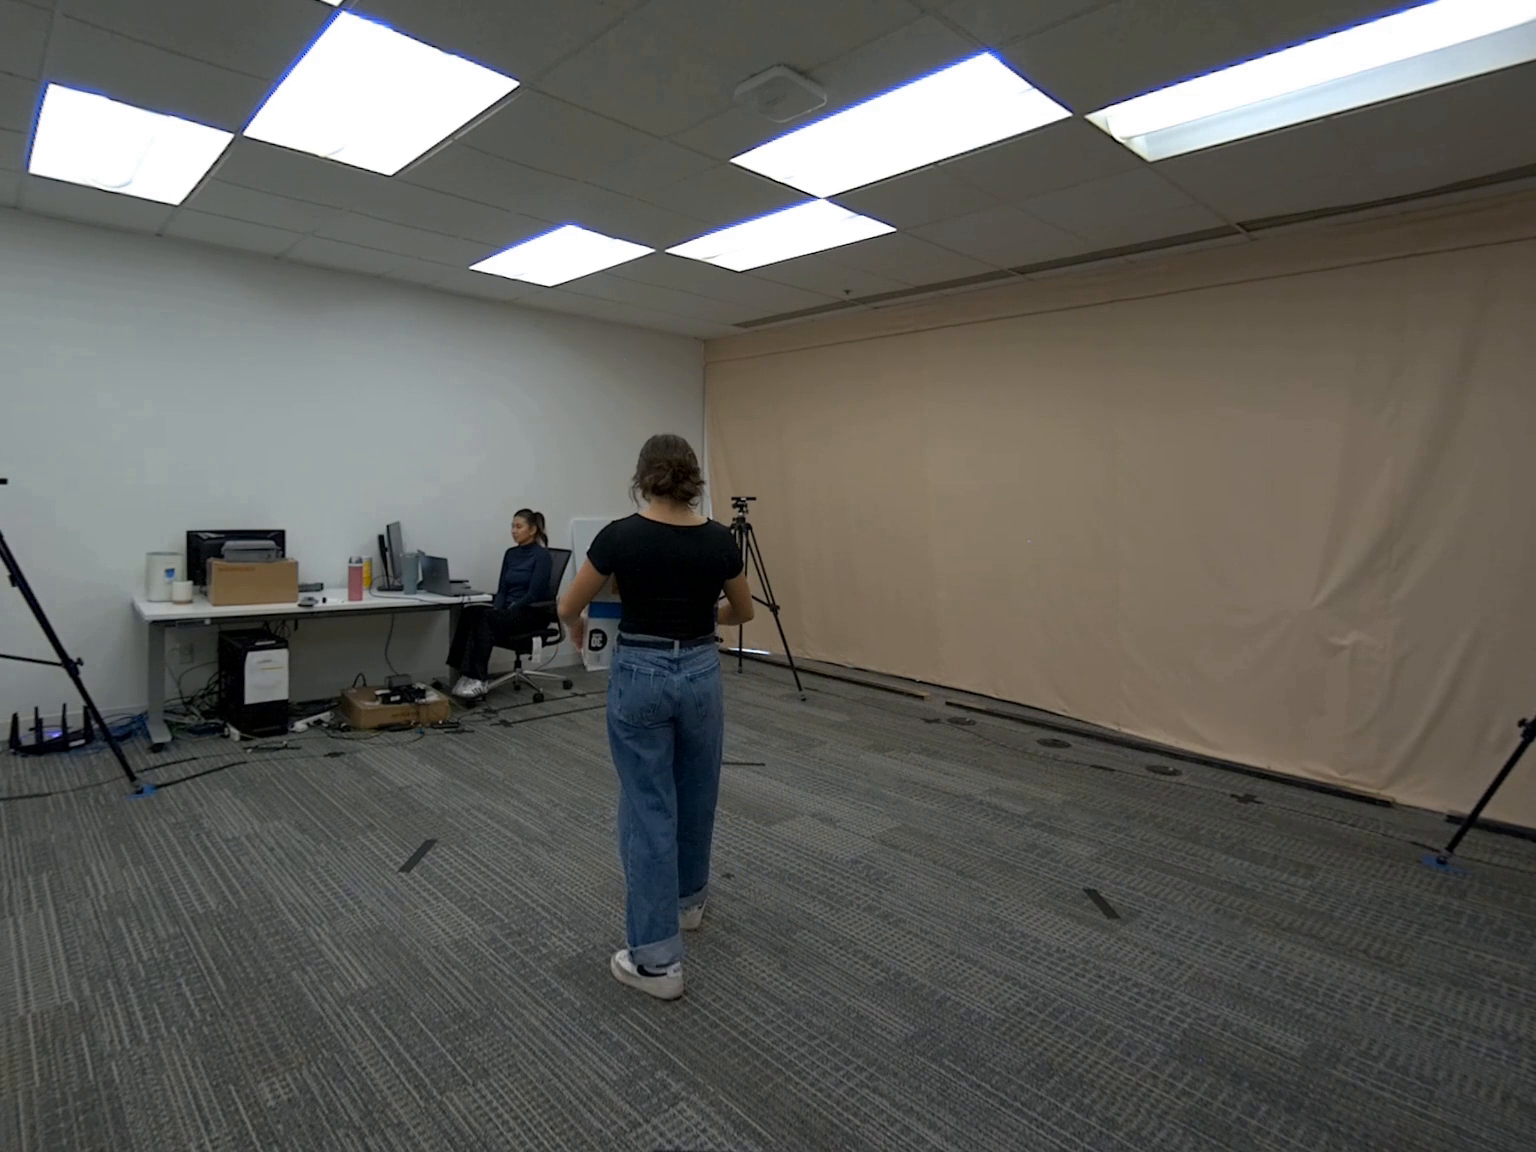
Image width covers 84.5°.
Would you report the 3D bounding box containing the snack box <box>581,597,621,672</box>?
[{"bbox_3d":[-0.369,0.100,2.676,0.400,0.339,0.209,3,8,-15],"label":"snack box"}]
